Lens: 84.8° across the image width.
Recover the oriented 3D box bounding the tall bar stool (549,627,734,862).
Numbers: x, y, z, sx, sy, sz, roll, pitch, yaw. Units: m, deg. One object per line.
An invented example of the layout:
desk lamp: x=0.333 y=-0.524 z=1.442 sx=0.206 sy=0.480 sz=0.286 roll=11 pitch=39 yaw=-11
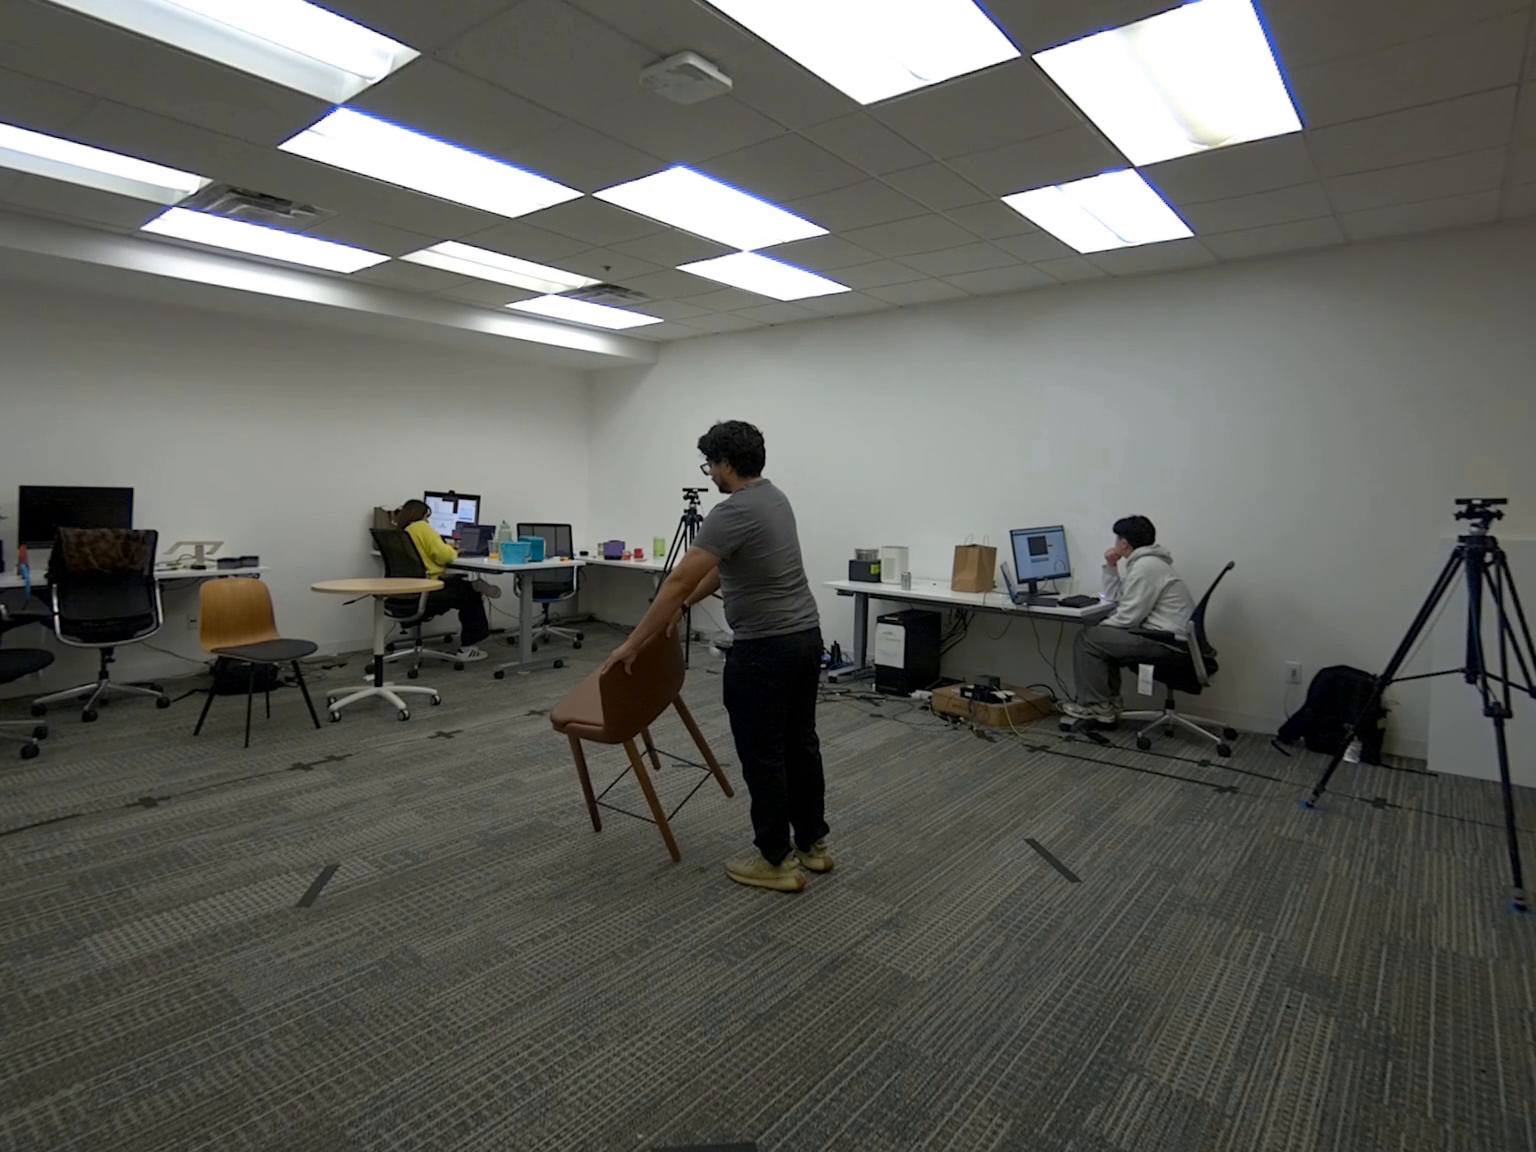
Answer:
tall bar stool: x=-0.526 y=0.577 z=3.261 sx=0.484 sy=0.866 sz=0.453 roll=8 pitch=32 yaw=38
